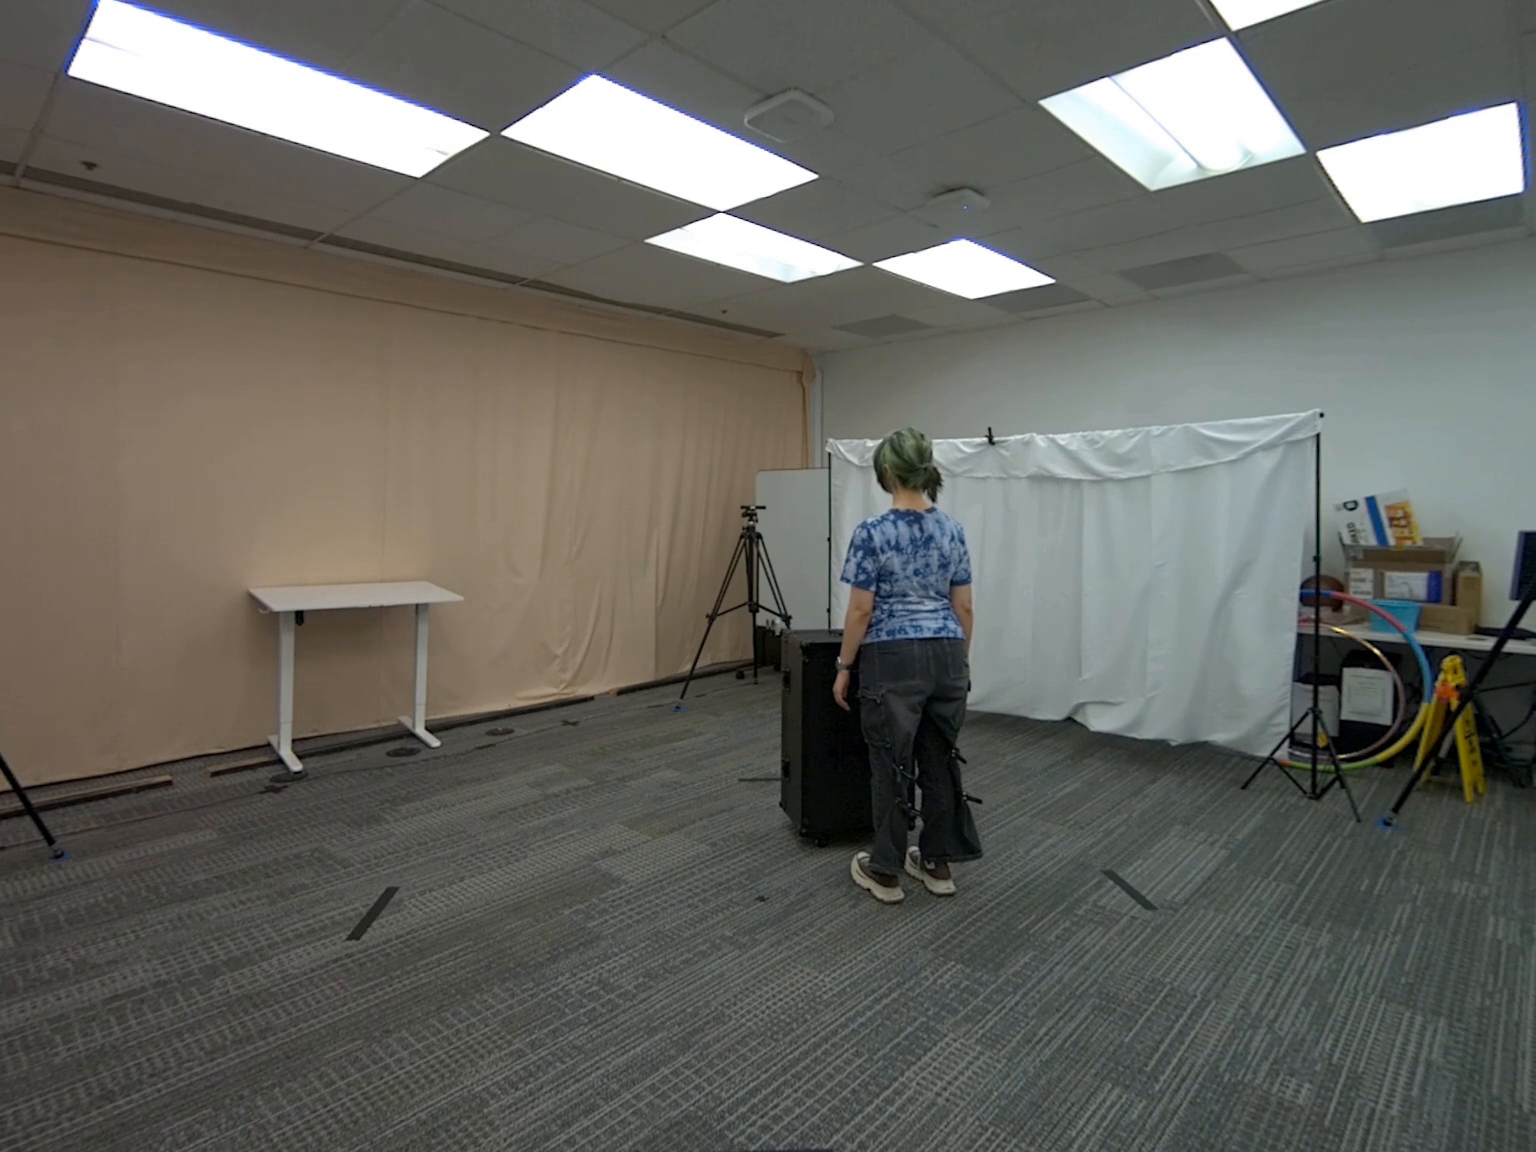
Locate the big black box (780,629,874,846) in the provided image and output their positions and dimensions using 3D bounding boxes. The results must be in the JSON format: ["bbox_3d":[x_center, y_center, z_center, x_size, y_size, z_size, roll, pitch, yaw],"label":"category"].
[{"bbox_3d":[0.334,0.671,3.547,0.516,0.859,0.401,0,4,-10],"label":"big black box"}]
